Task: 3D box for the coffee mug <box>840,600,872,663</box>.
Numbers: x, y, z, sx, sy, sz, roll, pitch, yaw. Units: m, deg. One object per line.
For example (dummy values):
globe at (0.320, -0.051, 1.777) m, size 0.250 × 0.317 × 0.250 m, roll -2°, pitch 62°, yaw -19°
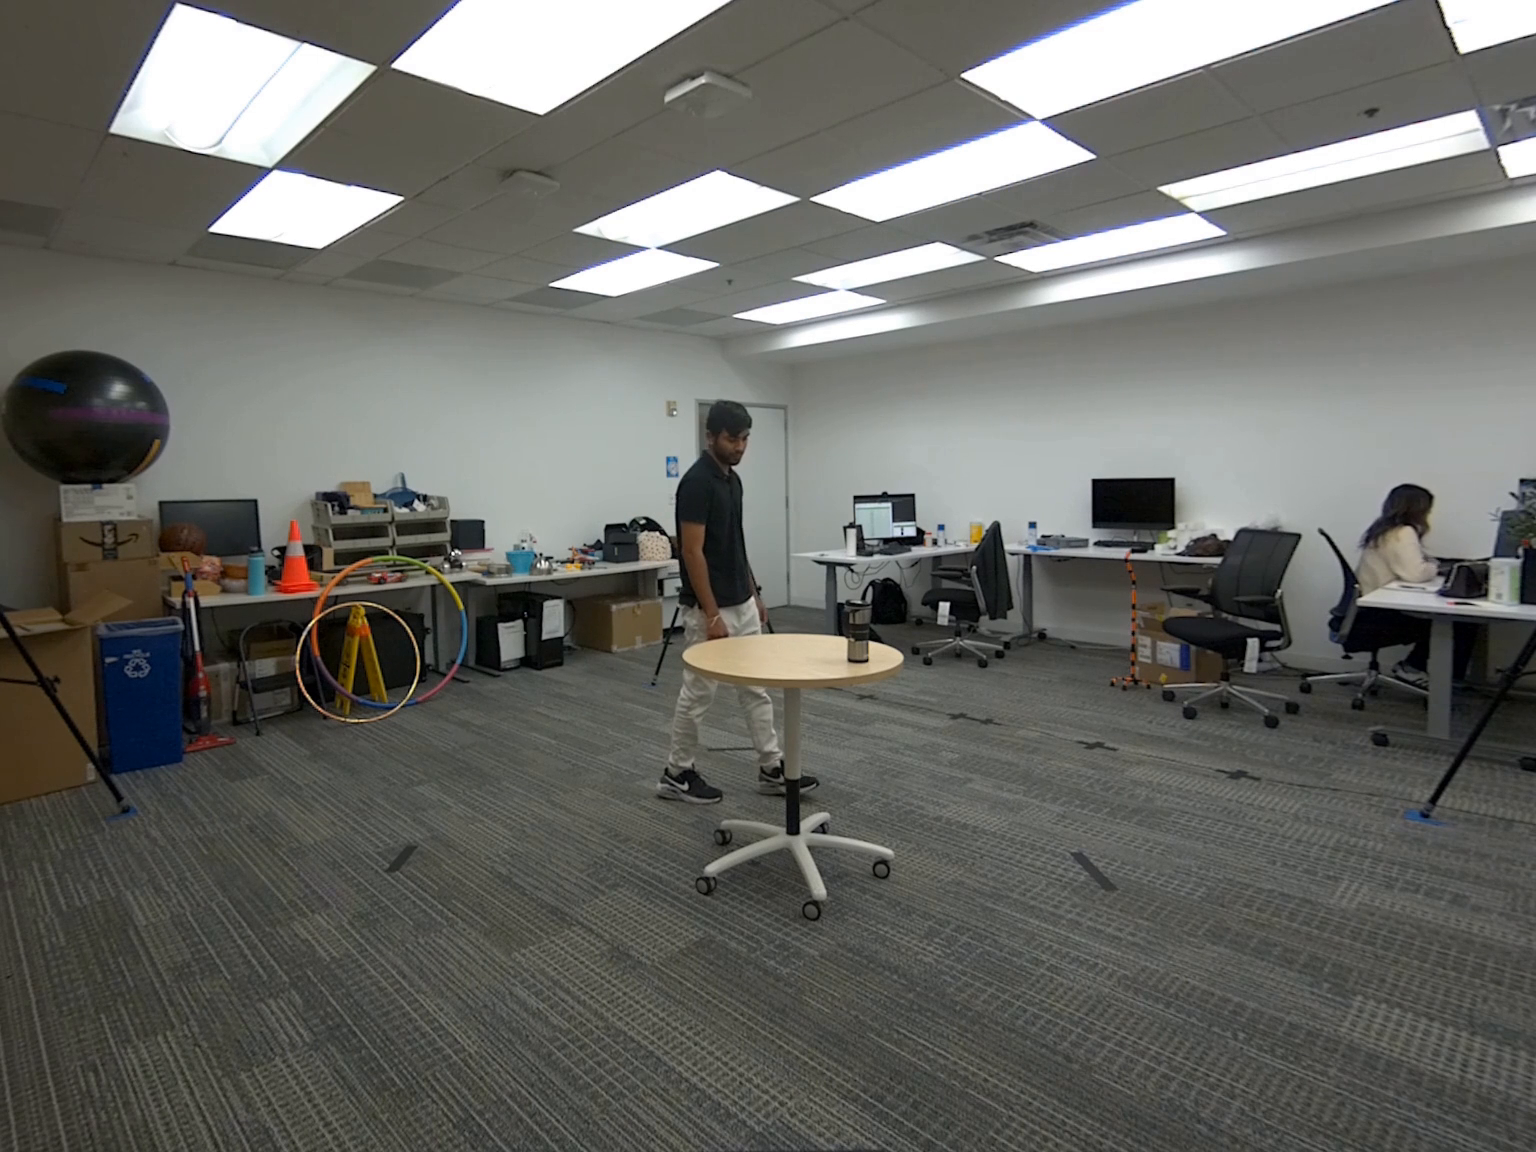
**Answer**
coffee mug at (0.290, 0.188, 2.838) m, size 0.119 × 0.202 × 0.090 m, roll 0°, pitch 7°, yaw -27°
